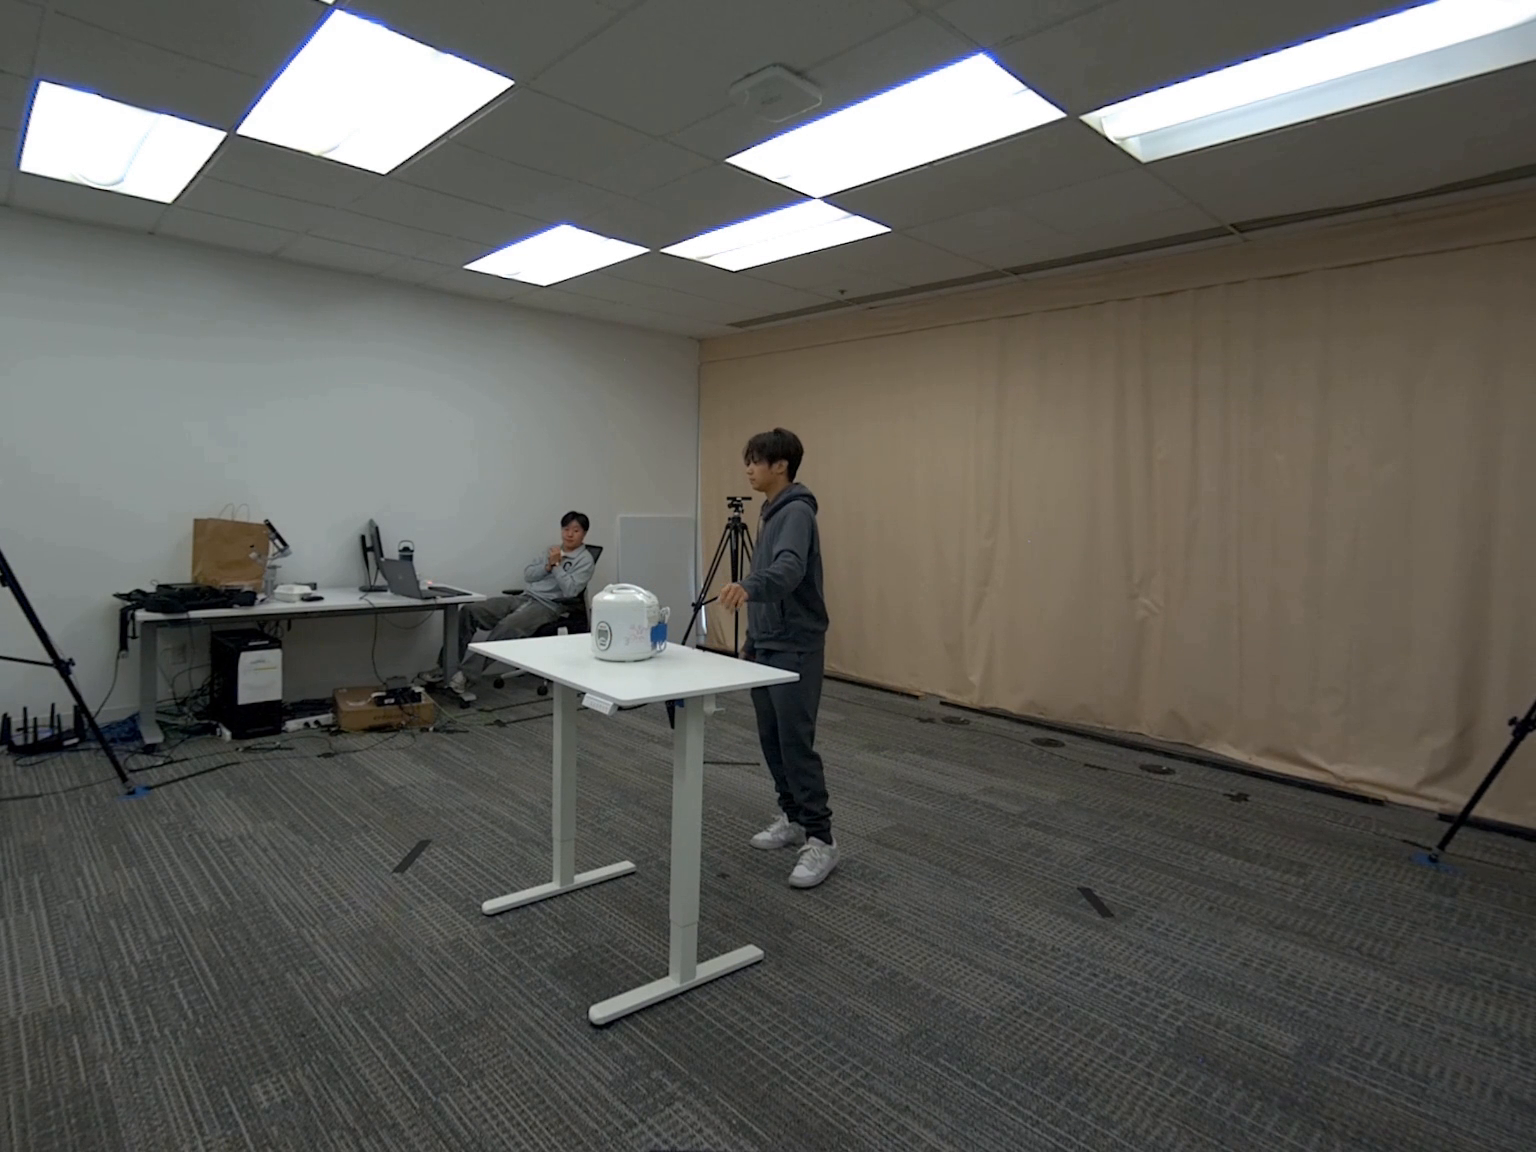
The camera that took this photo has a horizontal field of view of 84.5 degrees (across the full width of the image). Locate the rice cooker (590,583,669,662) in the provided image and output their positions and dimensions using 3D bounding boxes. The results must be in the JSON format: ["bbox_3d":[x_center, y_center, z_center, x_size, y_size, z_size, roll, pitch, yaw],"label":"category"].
[{"bbox_3d":[-0.454,0.143,2.638,0.225,0.233,0.213,2,1,28],"label":"rice cooker"}]
